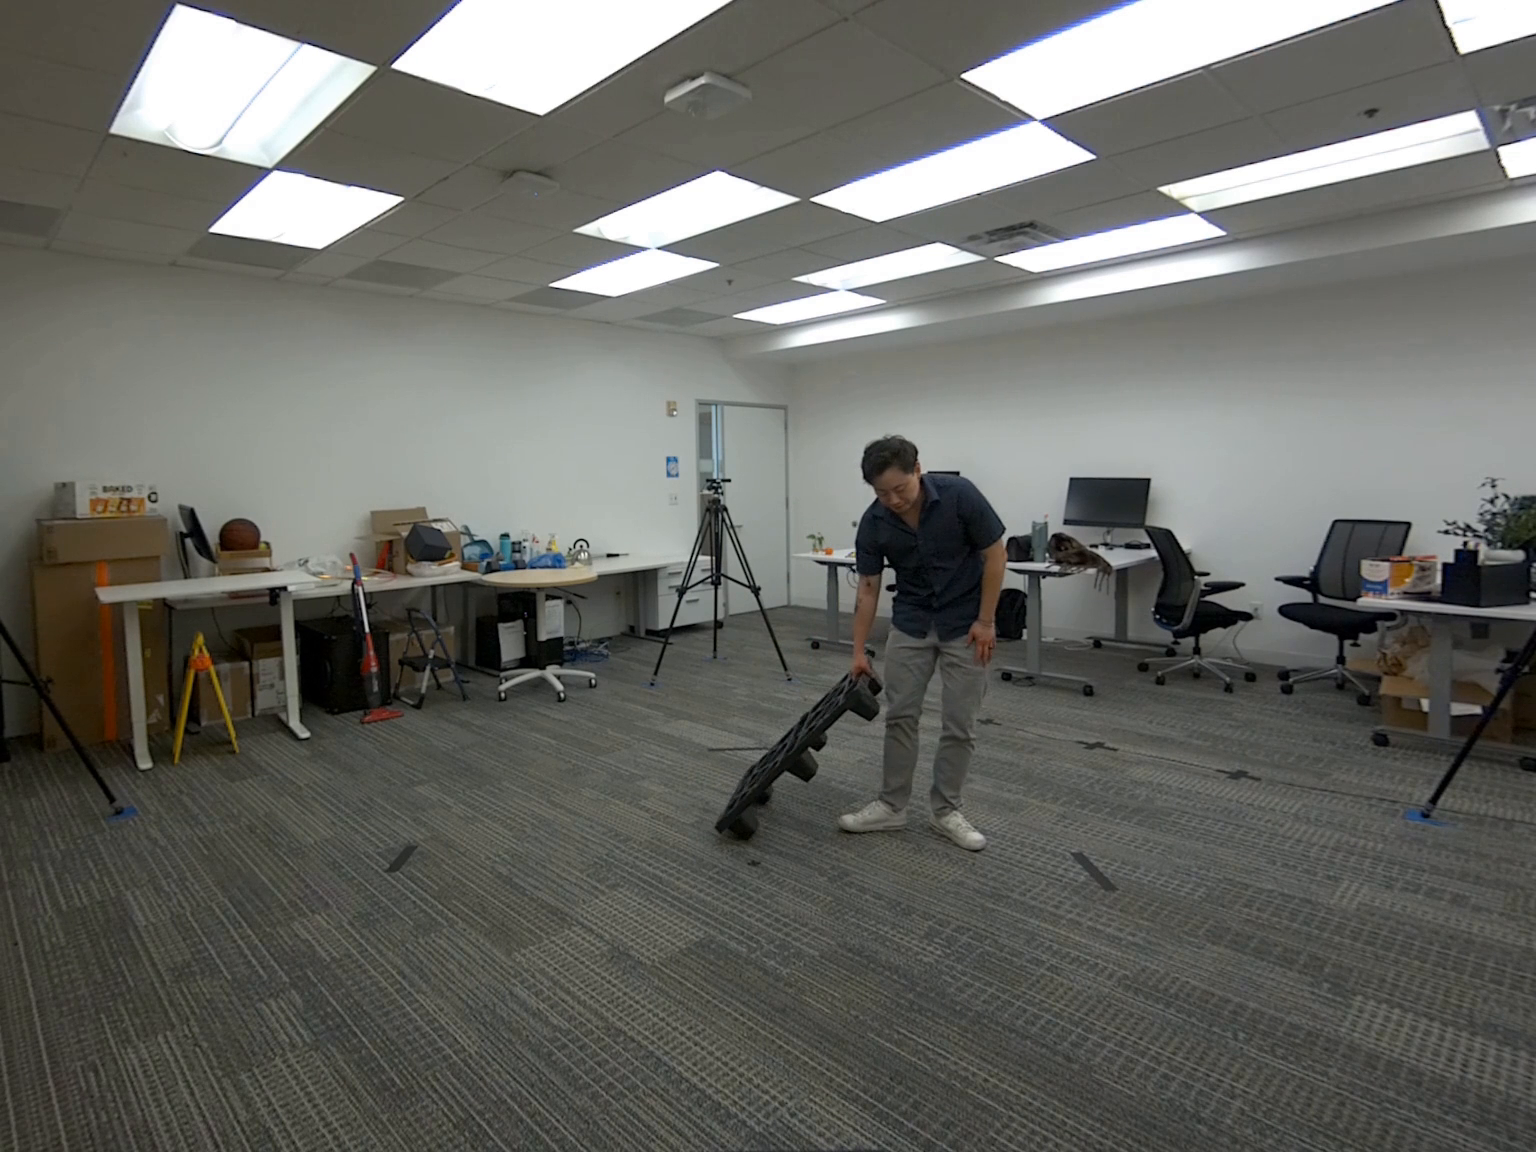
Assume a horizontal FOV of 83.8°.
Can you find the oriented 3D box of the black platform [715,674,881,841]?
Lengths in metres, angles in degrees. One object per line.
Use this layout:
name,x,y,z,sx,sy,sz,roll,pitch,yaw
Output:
black platform,0.150,0.695,3.462,0.144,0.805,0.601,44,11,3
